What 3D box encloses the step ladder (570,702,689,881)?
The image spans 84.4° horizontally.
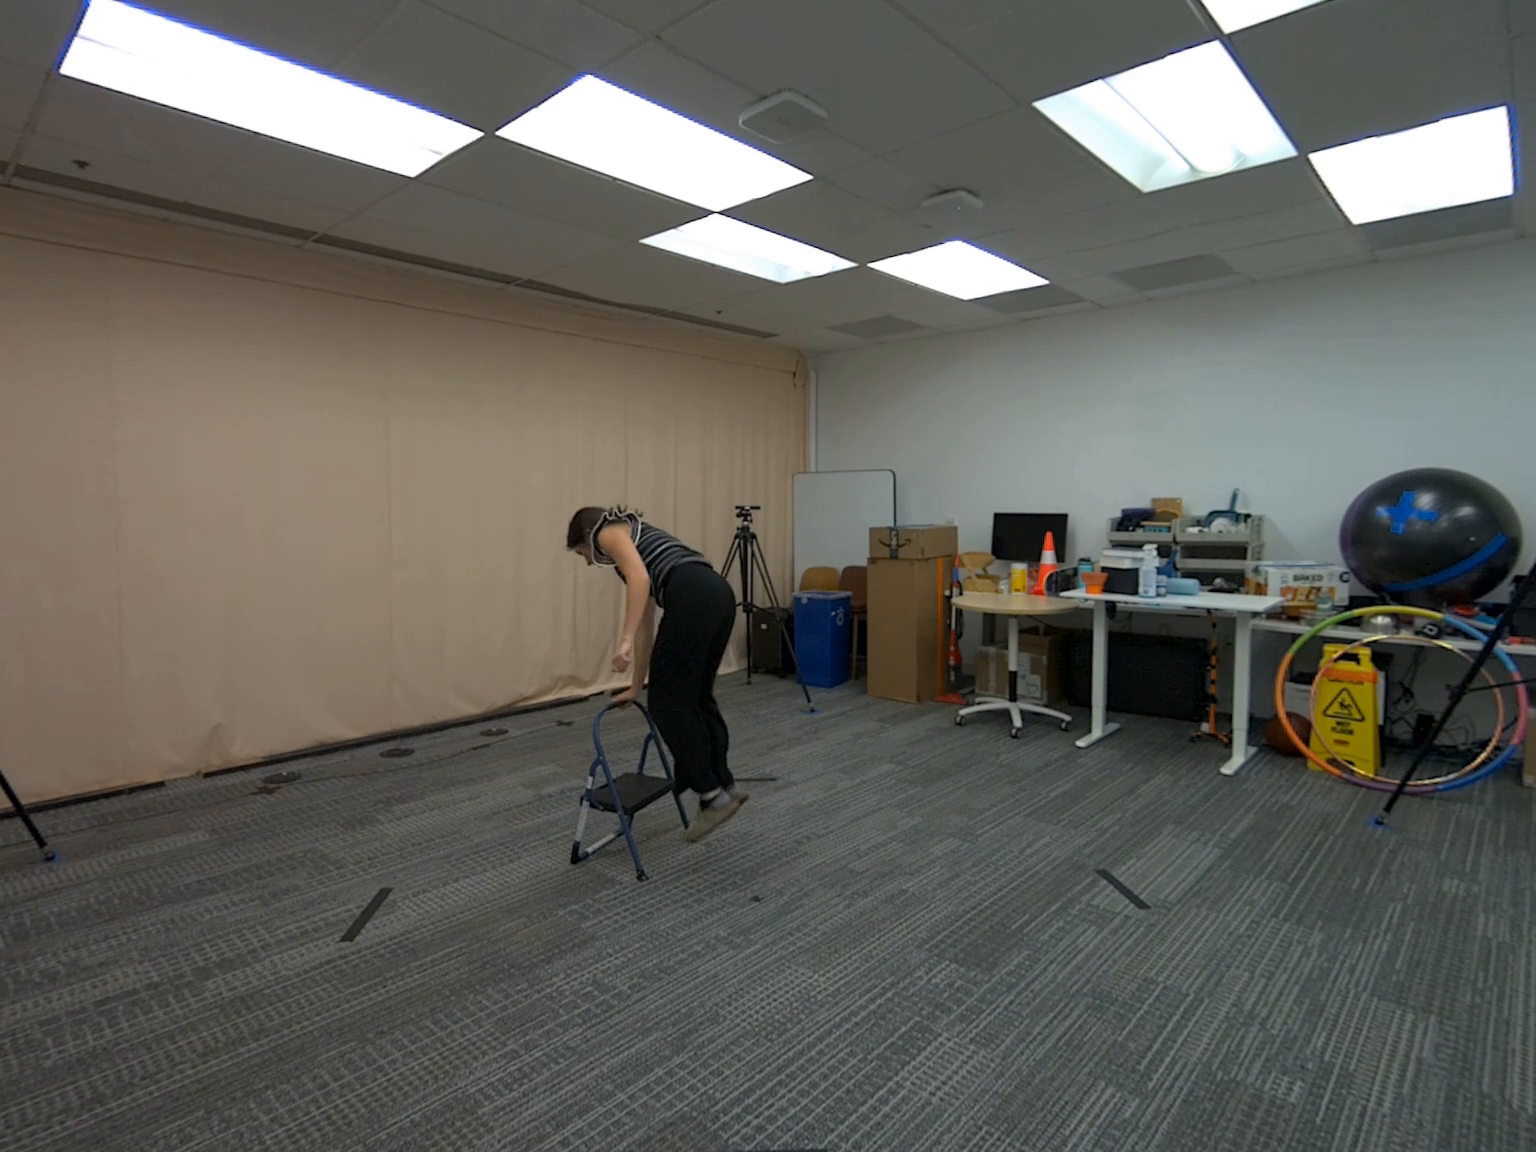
[{"bbox_3d":[-0.540,0.814,3.385,0.358,0.605,0.421,1,3,24],"label":"step ladder"}]
